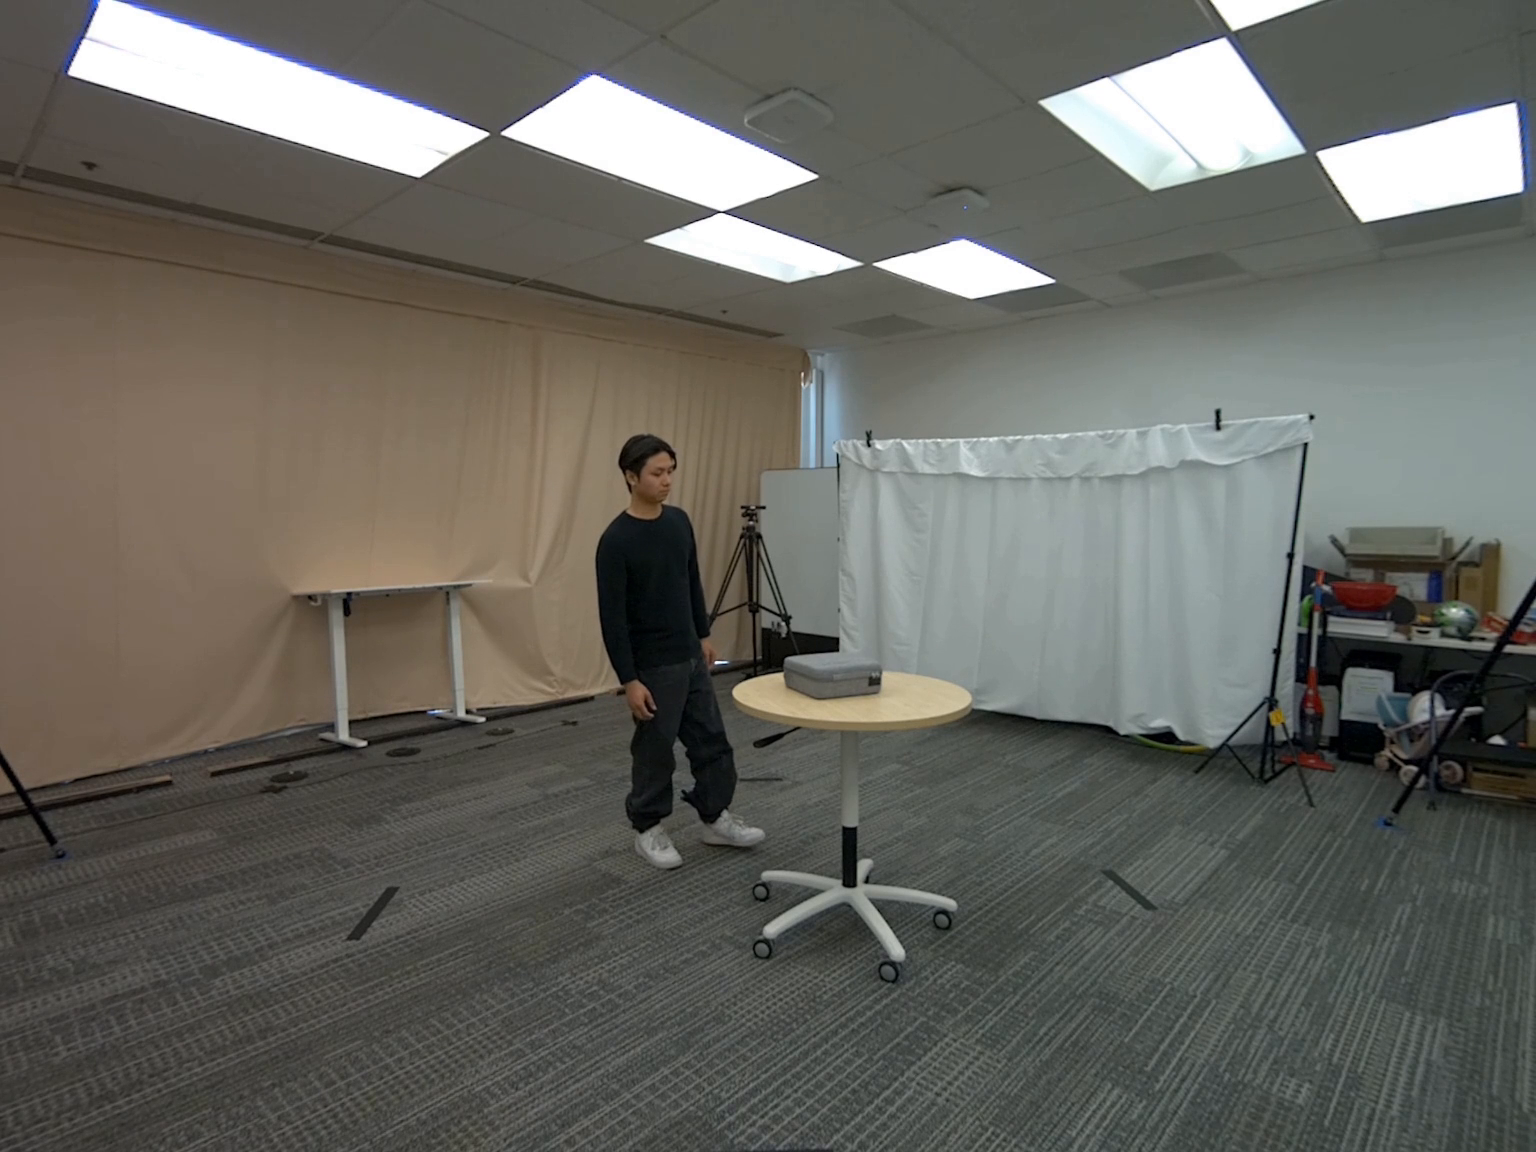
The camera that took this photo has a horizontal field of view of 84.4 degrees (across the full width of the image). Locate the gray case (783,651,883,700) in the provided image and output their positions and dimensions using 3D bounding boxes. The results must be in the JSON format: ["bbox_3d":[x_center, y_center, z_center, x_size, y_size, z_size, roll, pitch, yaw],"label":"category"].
[{"bbox_3d":[0.211,0.323,2.781,0.251,0.104,0.267,-4,5,-23],"label":"gray case"}]
